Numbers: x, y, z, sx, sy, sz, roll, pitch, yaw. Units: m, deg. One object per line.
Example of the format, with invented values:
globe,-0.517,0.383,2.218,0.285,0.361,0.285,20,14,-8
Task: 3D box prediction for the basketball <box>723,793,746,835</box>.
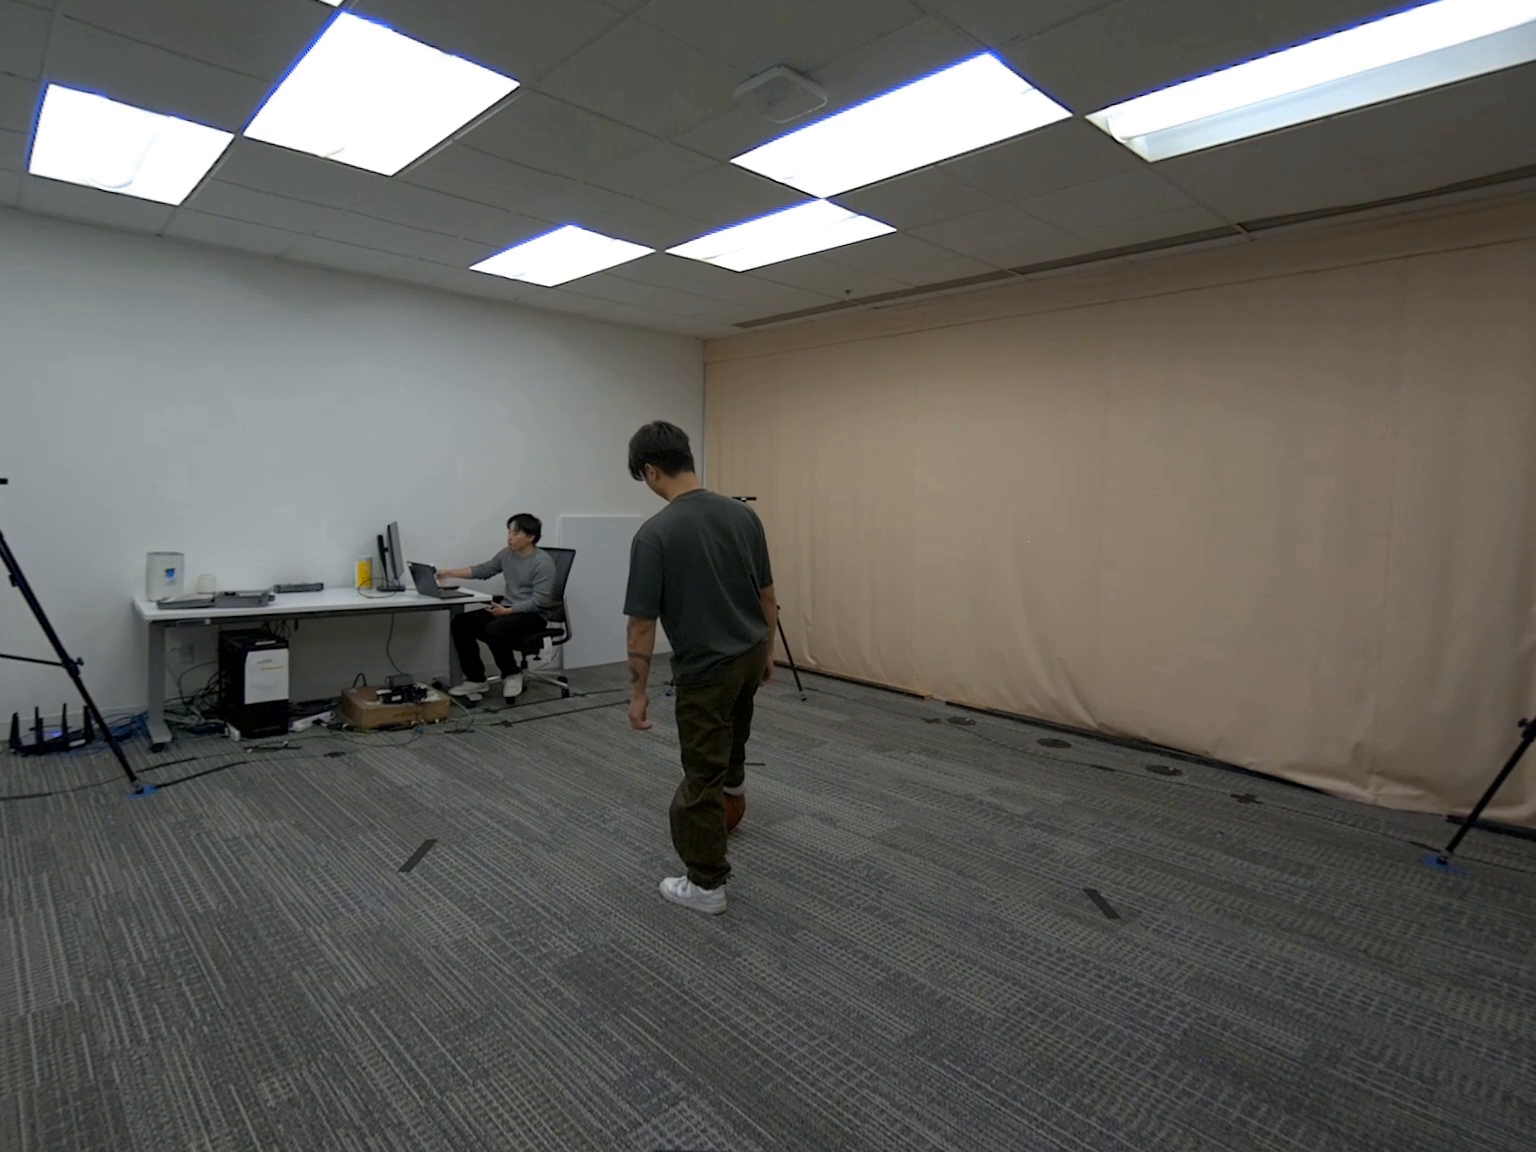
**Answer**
basketball,-0.217,0.955,3.512,0.236,0.235,0.237,1,4,-1
